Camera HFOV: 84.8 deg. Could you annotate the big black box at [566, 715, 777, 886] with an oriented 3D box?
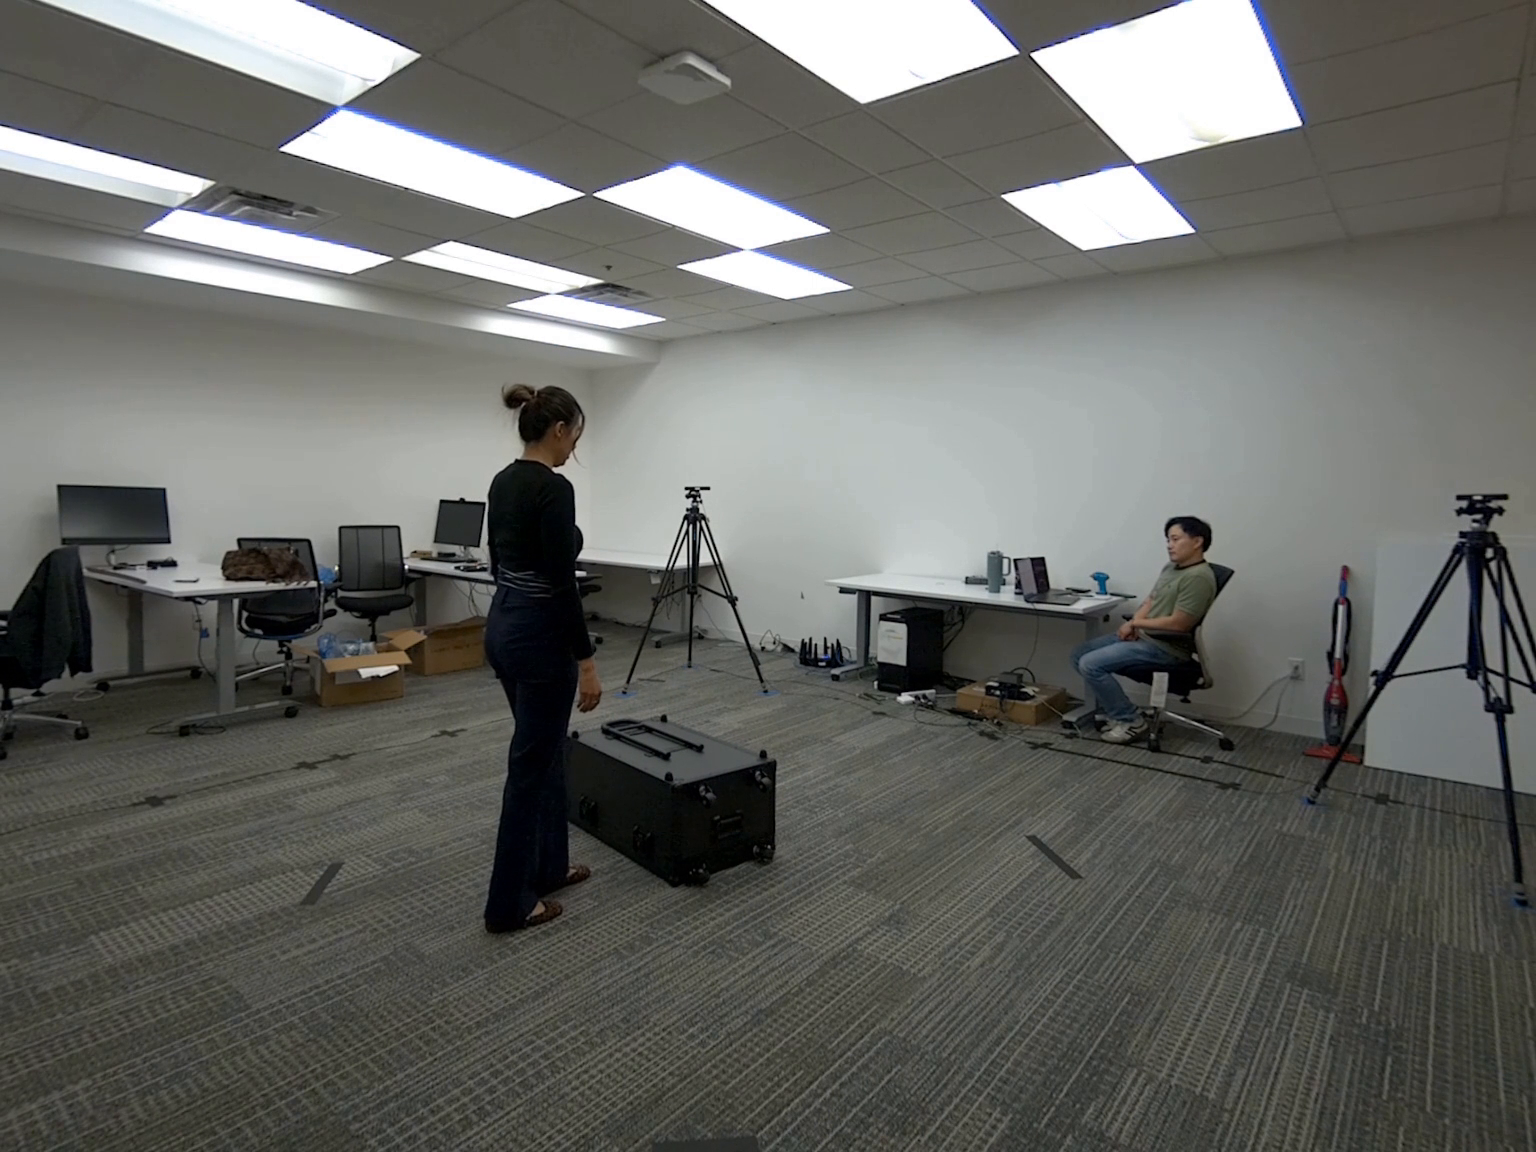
[{"bbox_3d":[-0.437,0.858,3.413,0.506,0.395,0.891,-3,7,-41],"label":"big black box"}]
